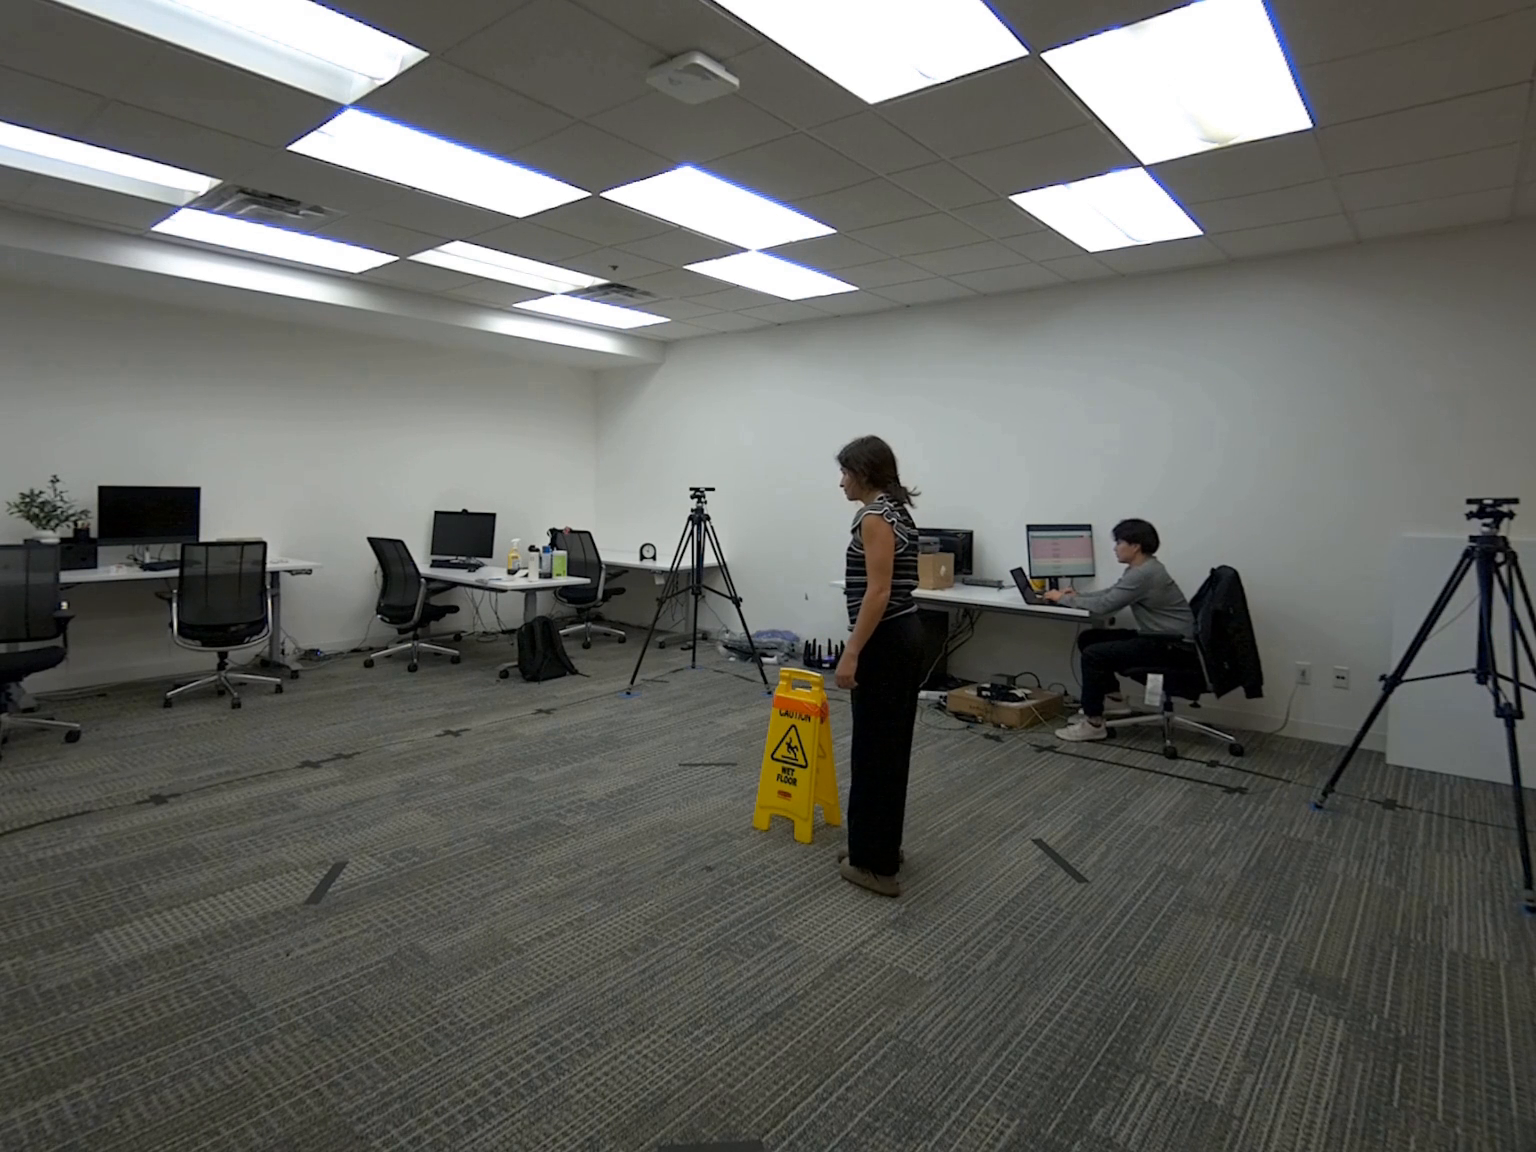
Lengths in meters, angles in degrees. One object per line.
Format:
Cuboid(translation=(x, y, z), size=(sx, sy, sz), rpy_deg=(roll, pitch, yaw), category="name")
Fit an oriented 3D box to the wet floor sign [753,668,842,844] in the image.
Cuboid(translation=(0.120, 0.709, 3.513), size=(0.291, 0.644, 0.281), rpy_deg=(4, 3, 35), category="wet floor sign")
